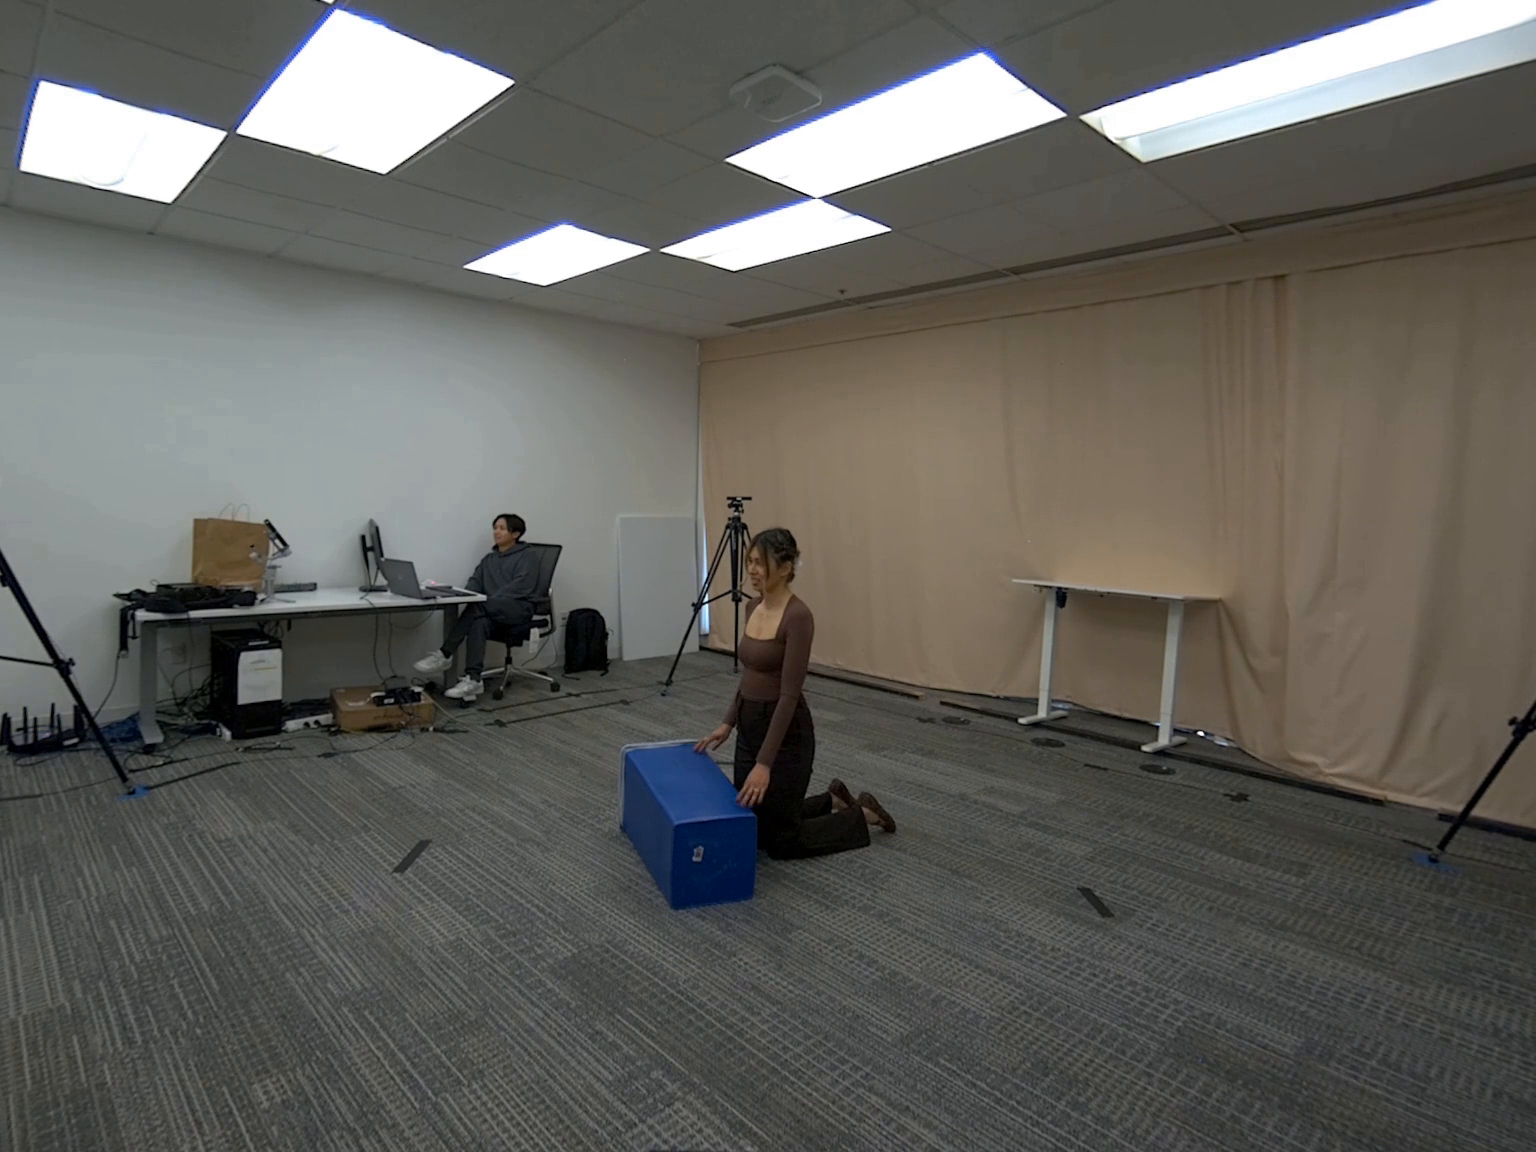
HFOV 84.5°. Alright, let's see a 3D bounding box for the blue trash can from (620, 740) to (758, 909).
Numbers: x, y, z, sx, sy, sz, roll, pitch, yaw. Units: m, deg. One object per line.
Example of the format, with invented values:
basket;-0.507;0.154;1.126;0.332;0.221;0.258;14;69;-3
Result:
blue trash can;-0.323;0.922;3.193;0.368;0.377;0.727;1;6;-21
